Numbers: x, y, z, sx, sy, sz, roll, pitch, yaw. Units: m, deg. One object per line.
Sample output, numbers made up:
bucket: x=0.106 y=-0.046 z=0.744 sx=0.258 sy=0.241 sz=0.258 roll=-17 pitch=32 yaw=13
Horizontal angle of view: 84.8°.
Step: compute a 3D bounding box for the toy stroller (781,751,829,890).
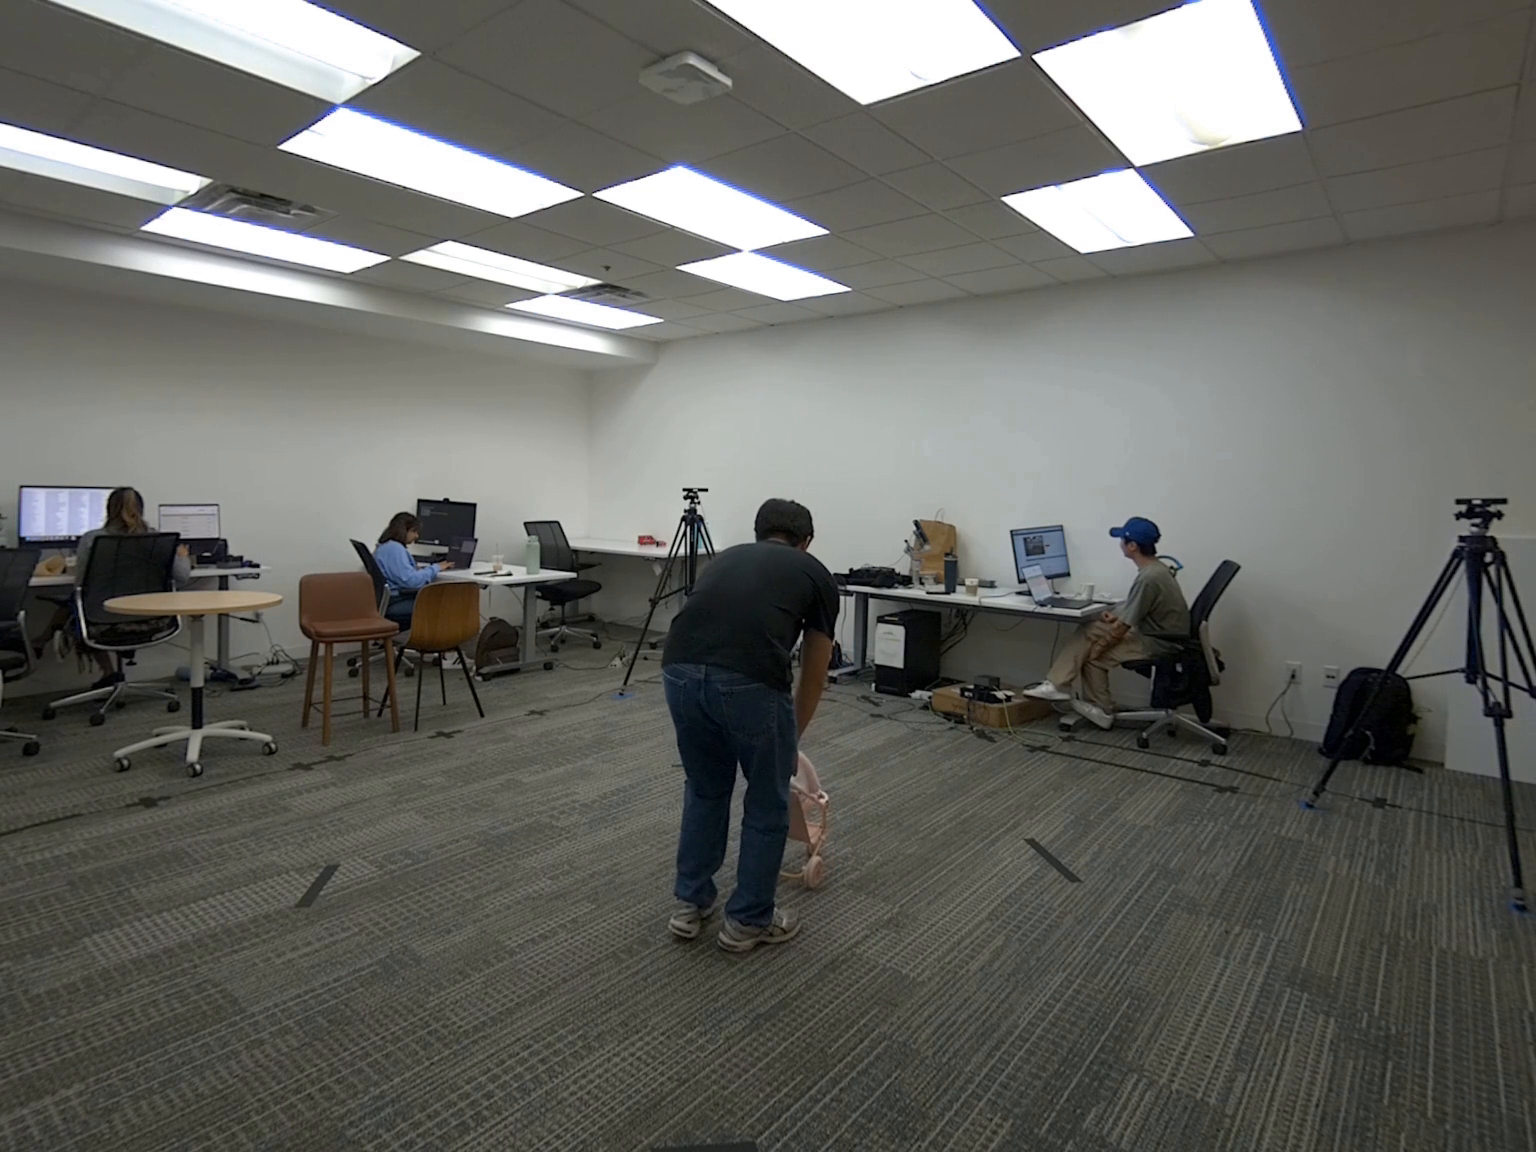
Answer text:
toy stroller: x=0.078 y=0.852 z=3.083 sx=0.290 sy=0.525 sz=0.337 roll=5 pitch=21 yaw=33
